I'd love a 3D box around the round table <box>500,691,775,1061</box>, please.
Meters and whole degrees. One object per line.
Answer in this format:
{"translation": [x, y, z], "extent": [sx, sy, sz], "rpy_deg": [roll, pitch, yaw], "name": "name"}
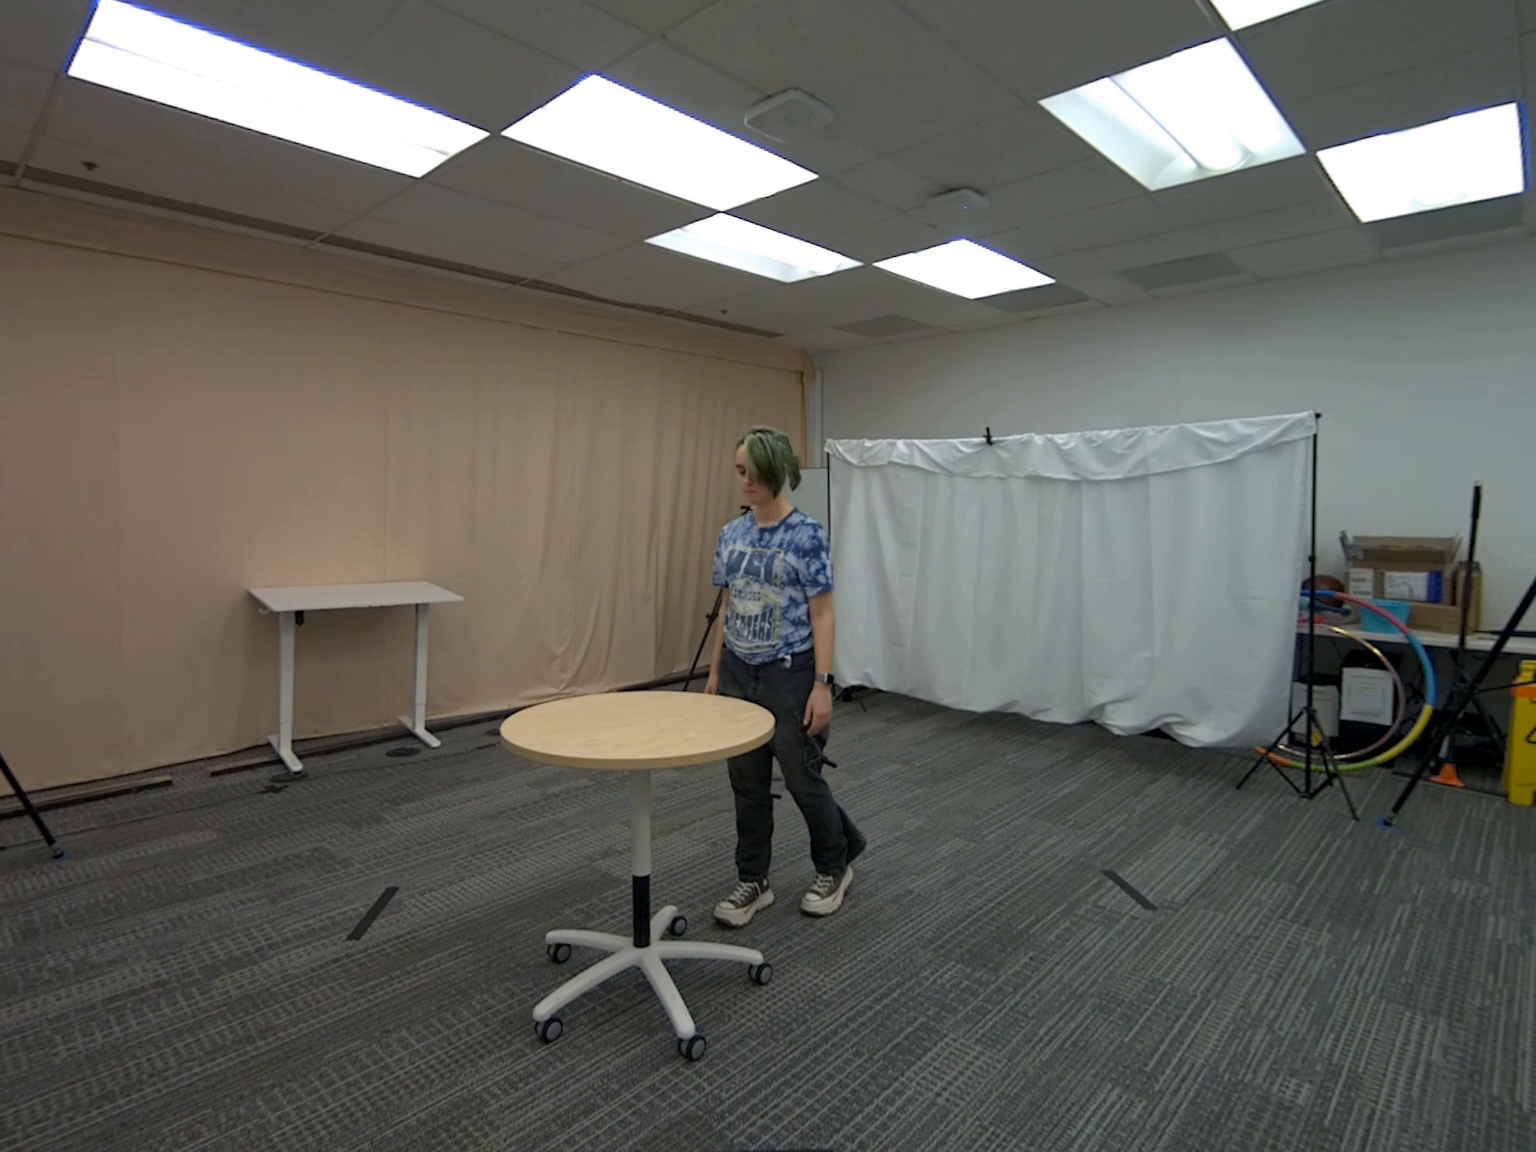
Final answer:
{"translation": [-0.368, 0.807, 2.393], "extent": [0.763, 0.792, 0.766], "rpy_deg": [-1, 4, -2], "name": "round table"}
